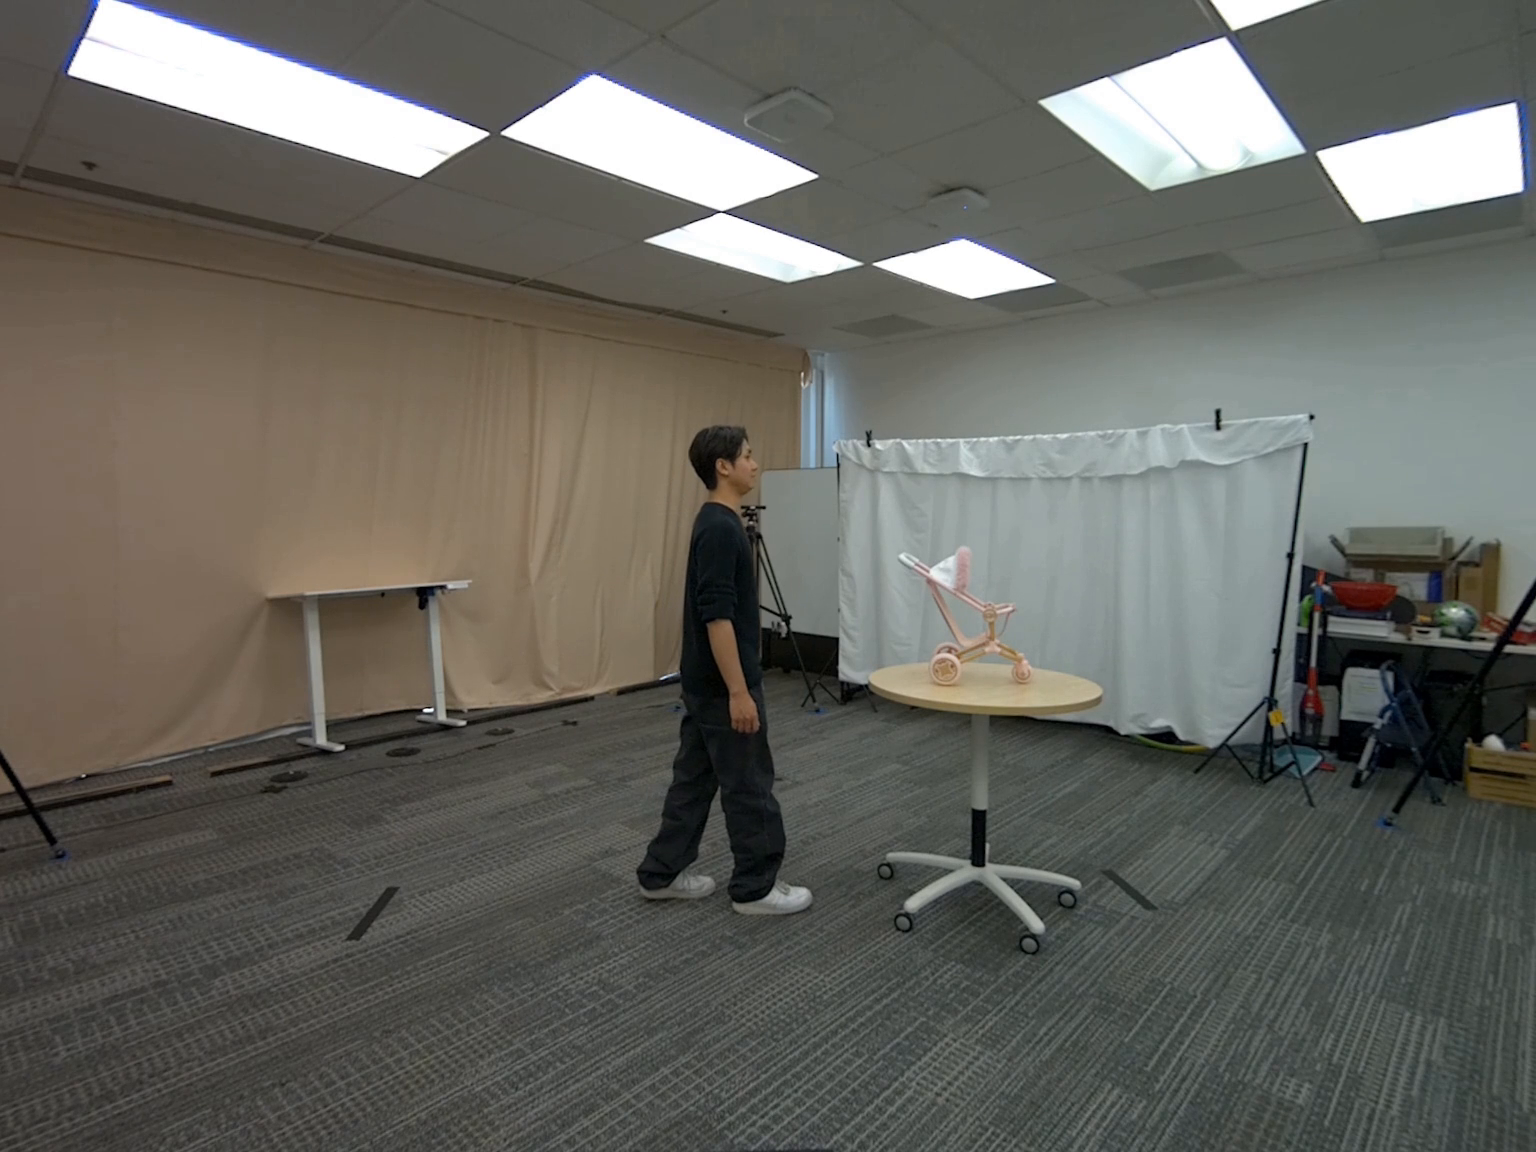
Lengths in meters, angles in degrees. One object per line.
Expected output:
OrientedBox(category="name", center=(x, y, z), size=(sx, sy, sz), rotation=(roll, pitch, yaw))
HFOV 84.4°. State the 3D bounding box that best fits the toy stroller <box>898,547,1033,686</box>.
OrientedBox(category="toy stroller", center=(0.701, 0.143, 2.918), size=(0.347, 0.536, 0.276), rotation=(-15, -3, 20))
